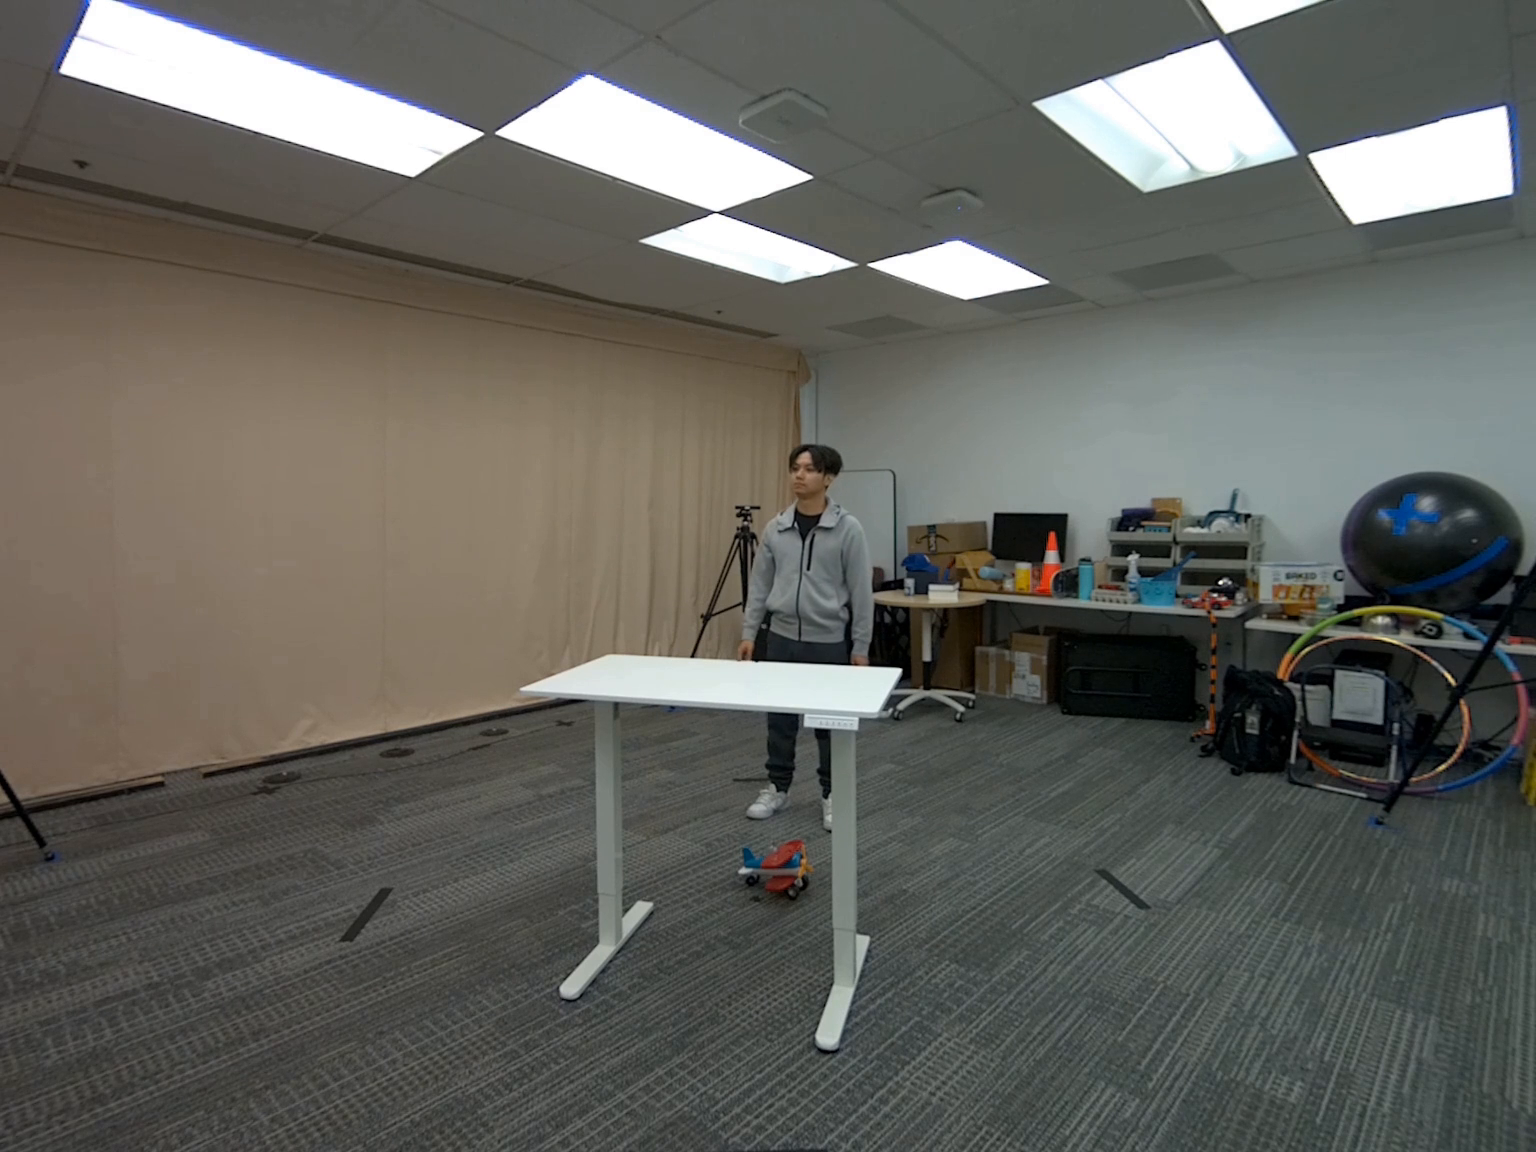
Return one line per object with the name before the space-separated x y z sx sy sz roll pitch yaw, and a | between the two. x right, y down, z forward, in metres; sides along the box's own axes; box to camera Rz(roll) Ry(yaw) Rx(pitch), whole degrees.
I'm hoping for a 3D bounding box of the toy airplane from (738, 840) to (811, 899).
toy airplane | 0.020 1.061 3.041 0.259 0.156 0.252 2 5 -2
